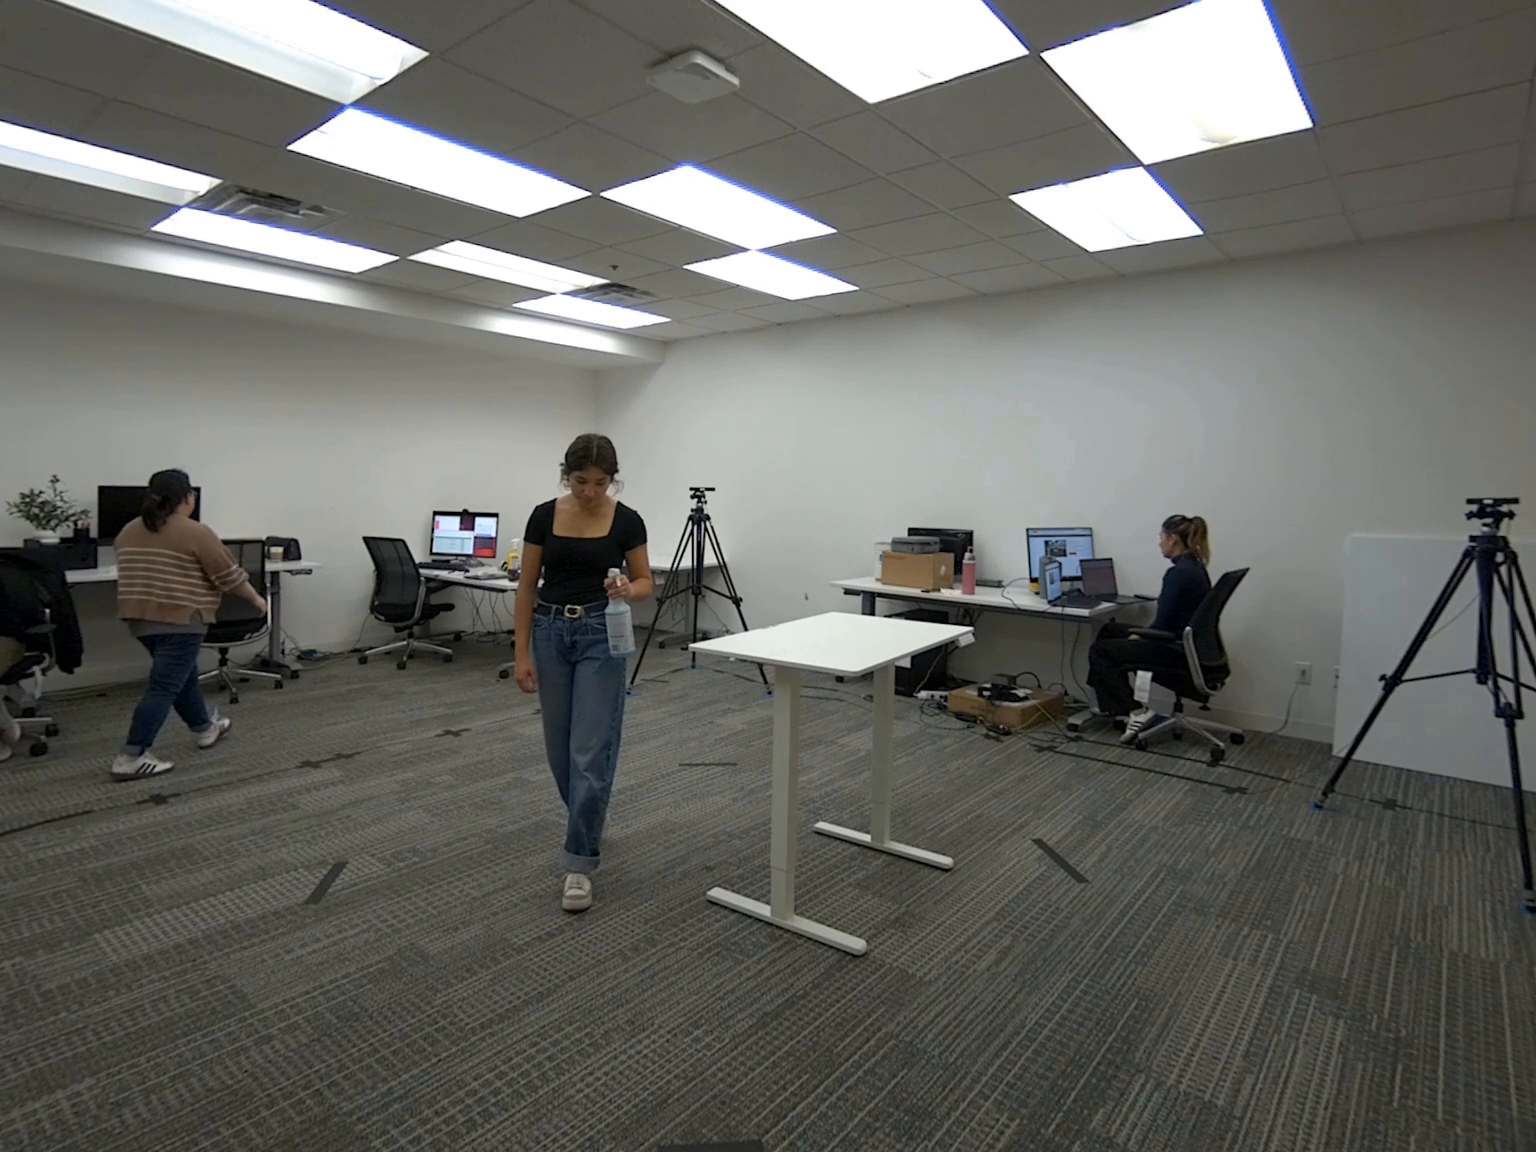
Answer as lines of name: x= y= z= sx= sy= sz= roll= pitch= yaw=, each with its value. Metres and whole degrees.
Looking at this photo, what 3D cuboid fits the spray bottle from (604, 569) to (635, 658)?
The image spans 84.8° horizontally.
spray bottle: x=-0.523 y=0.117 z=2.846 sx=0.087 sy=0.295 sz=0.091 roll=-4 pitch=8 yaw=-1
